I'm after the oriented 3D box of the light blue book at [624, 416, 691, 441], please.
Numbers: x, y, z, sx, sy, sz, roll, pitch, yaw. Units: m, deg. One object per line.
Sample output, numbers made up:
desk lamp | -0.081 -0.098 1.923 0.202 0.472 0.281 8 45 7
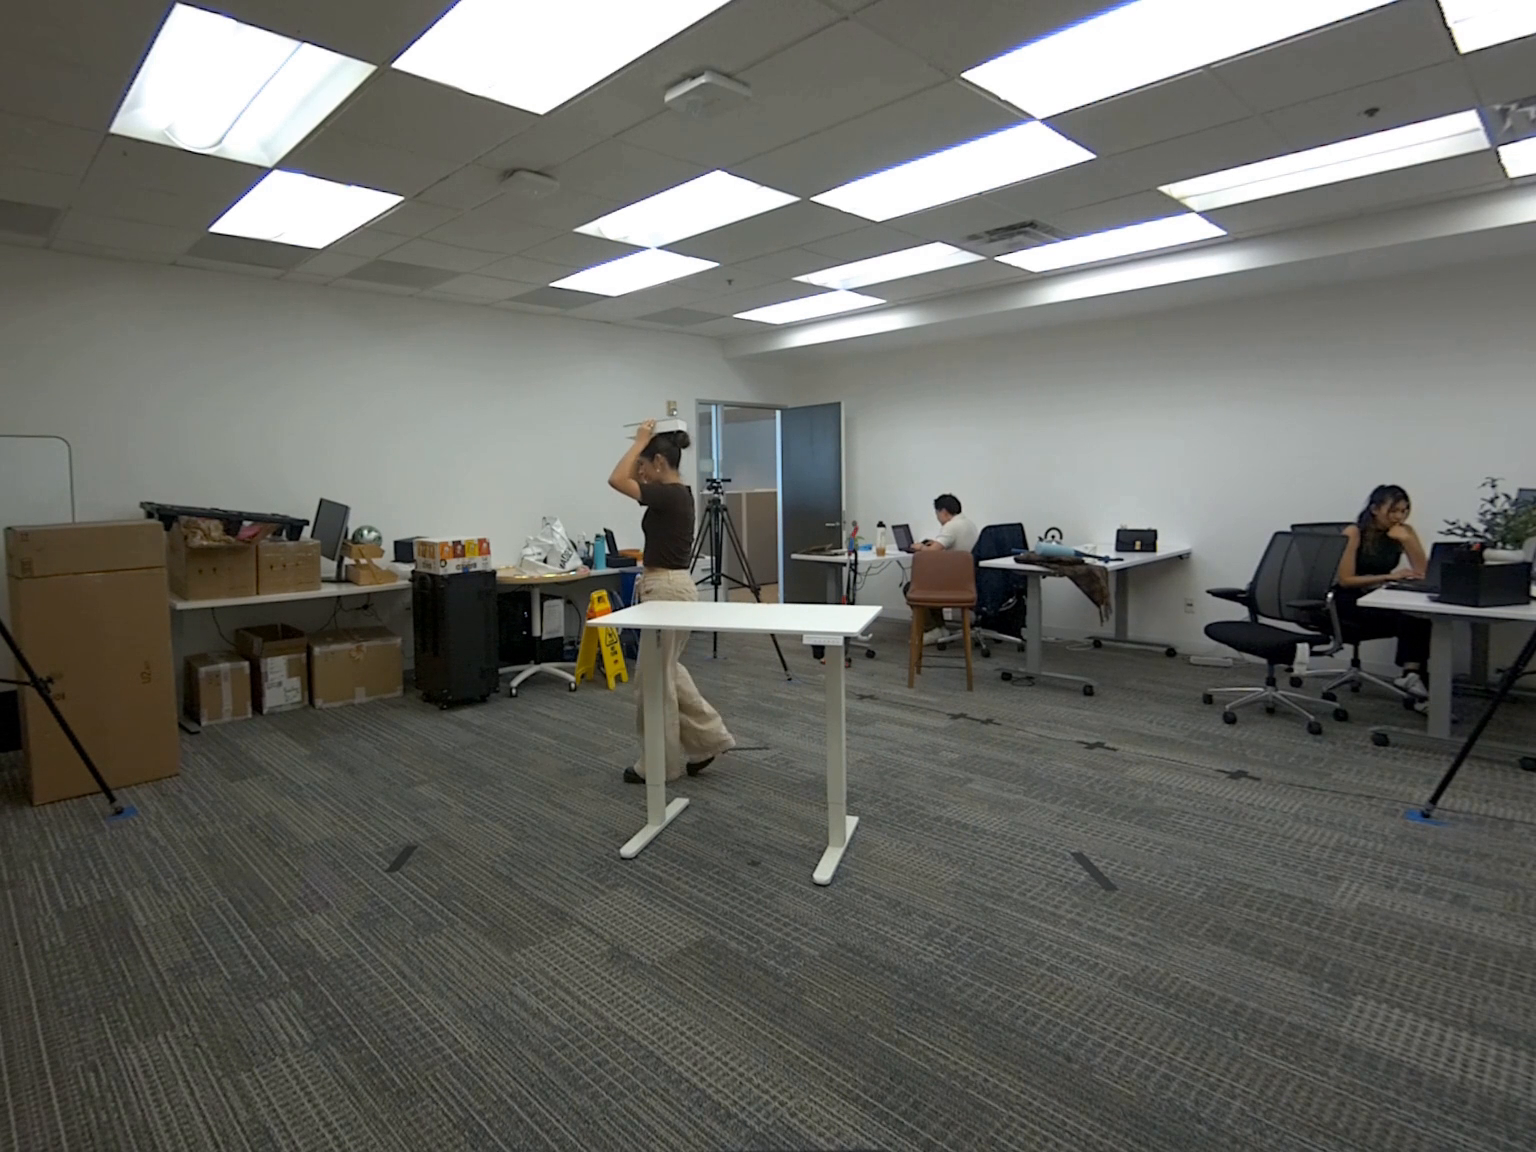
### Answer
light blue book | -0.508 -0.678 3.941 0.263 0.059 0.191 -8 4 7
